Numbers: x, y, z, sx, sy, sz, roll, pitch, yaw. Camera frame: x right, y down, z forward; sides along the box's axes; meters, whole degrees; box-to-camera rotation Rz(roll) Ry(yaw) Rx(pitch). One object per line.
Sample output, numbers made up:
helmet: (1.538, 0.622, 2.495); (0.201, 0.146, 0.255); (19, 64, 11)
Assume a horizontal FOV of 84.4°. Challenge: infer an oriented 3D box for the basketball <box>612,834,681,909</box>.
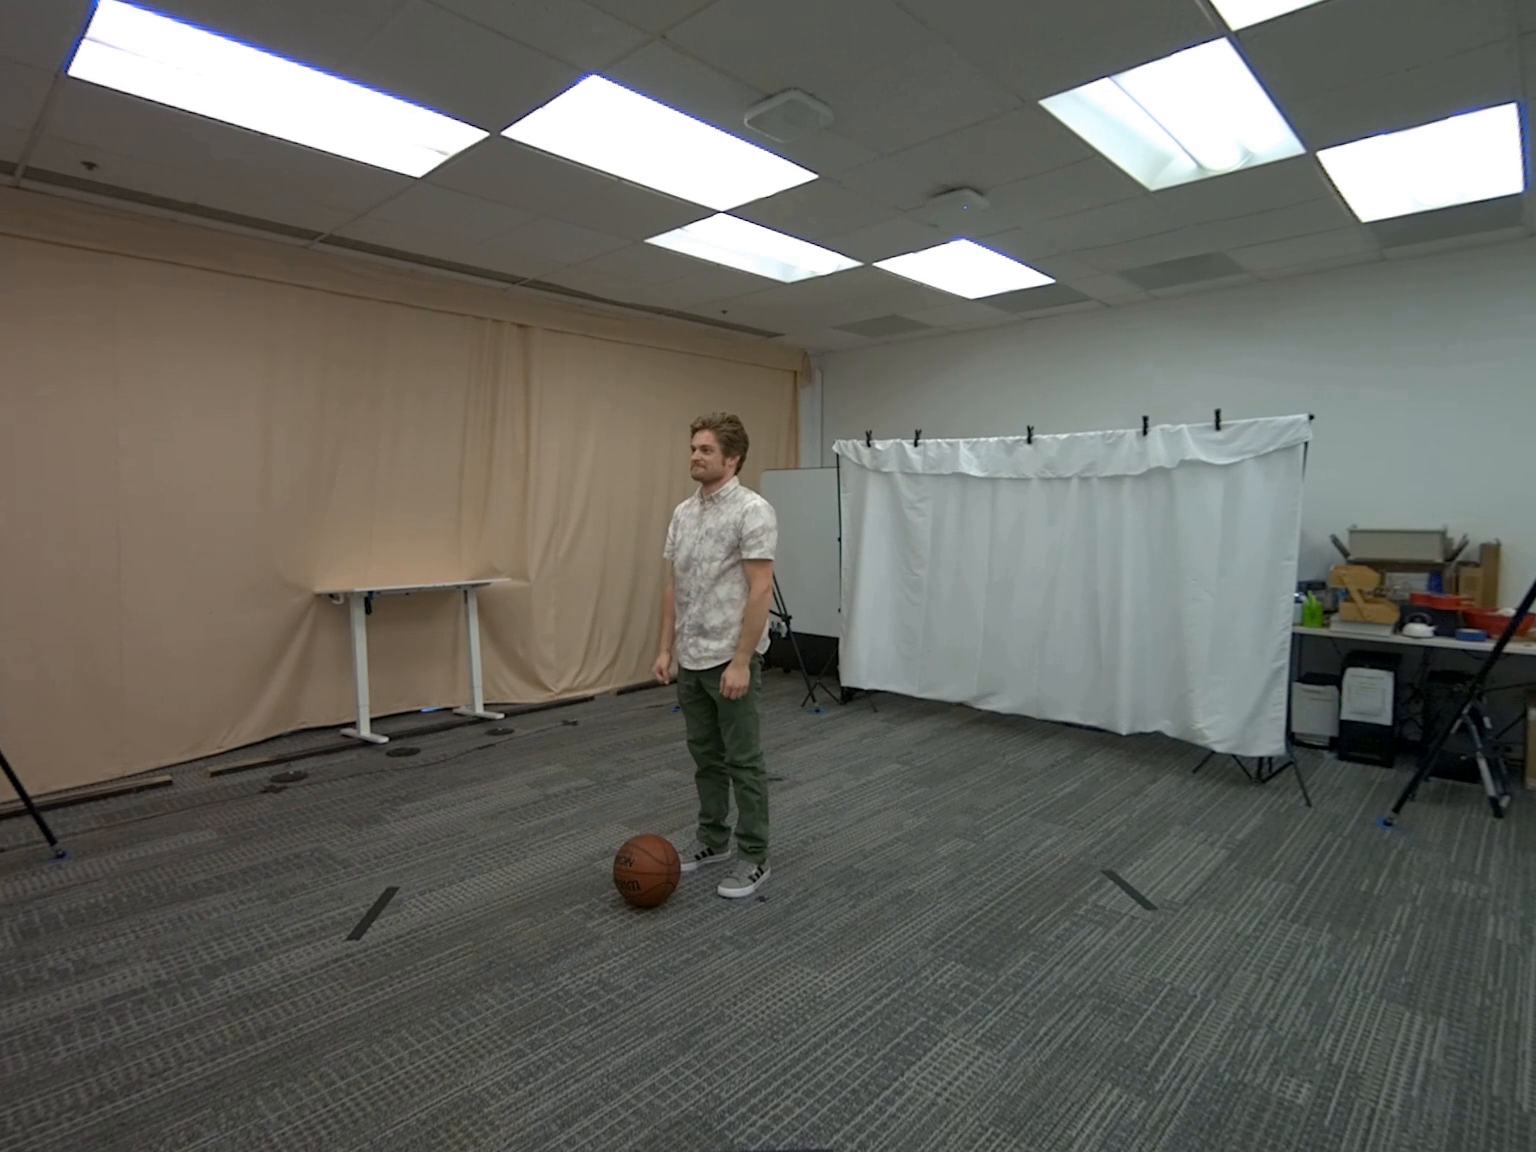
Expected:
basketball: (-0.424, 1.029, 2.952); (0.236, 0.235, 0.237); (0, 4, -2)
